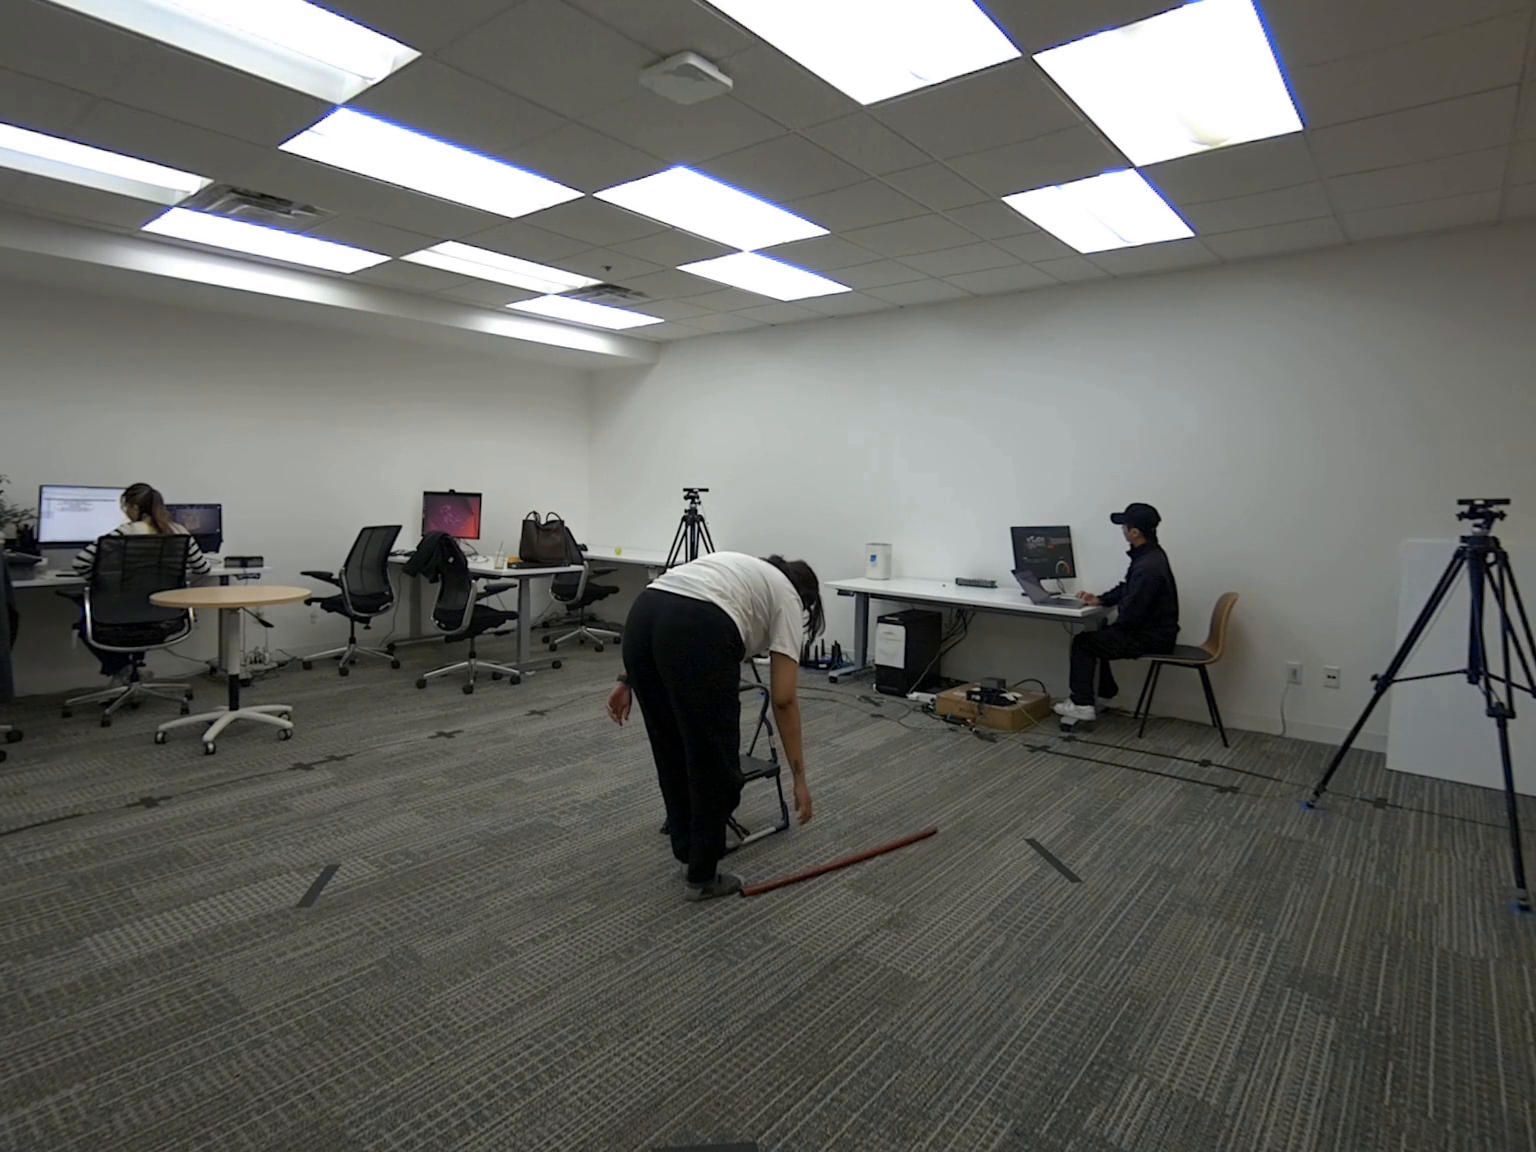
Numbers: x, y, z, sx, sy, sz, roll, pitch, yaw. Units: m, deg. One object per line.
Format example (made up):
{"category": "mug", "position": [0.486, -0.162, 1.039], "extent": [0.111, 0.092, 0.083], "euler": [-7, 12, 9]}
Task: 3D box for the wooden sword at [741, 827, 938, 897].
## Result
{"category": "wooden sword", "position": [0.296, 1.058, 3.199], "extent": [0.995, 0.025, 0.051], "euler": [-3, -39, -36]}
